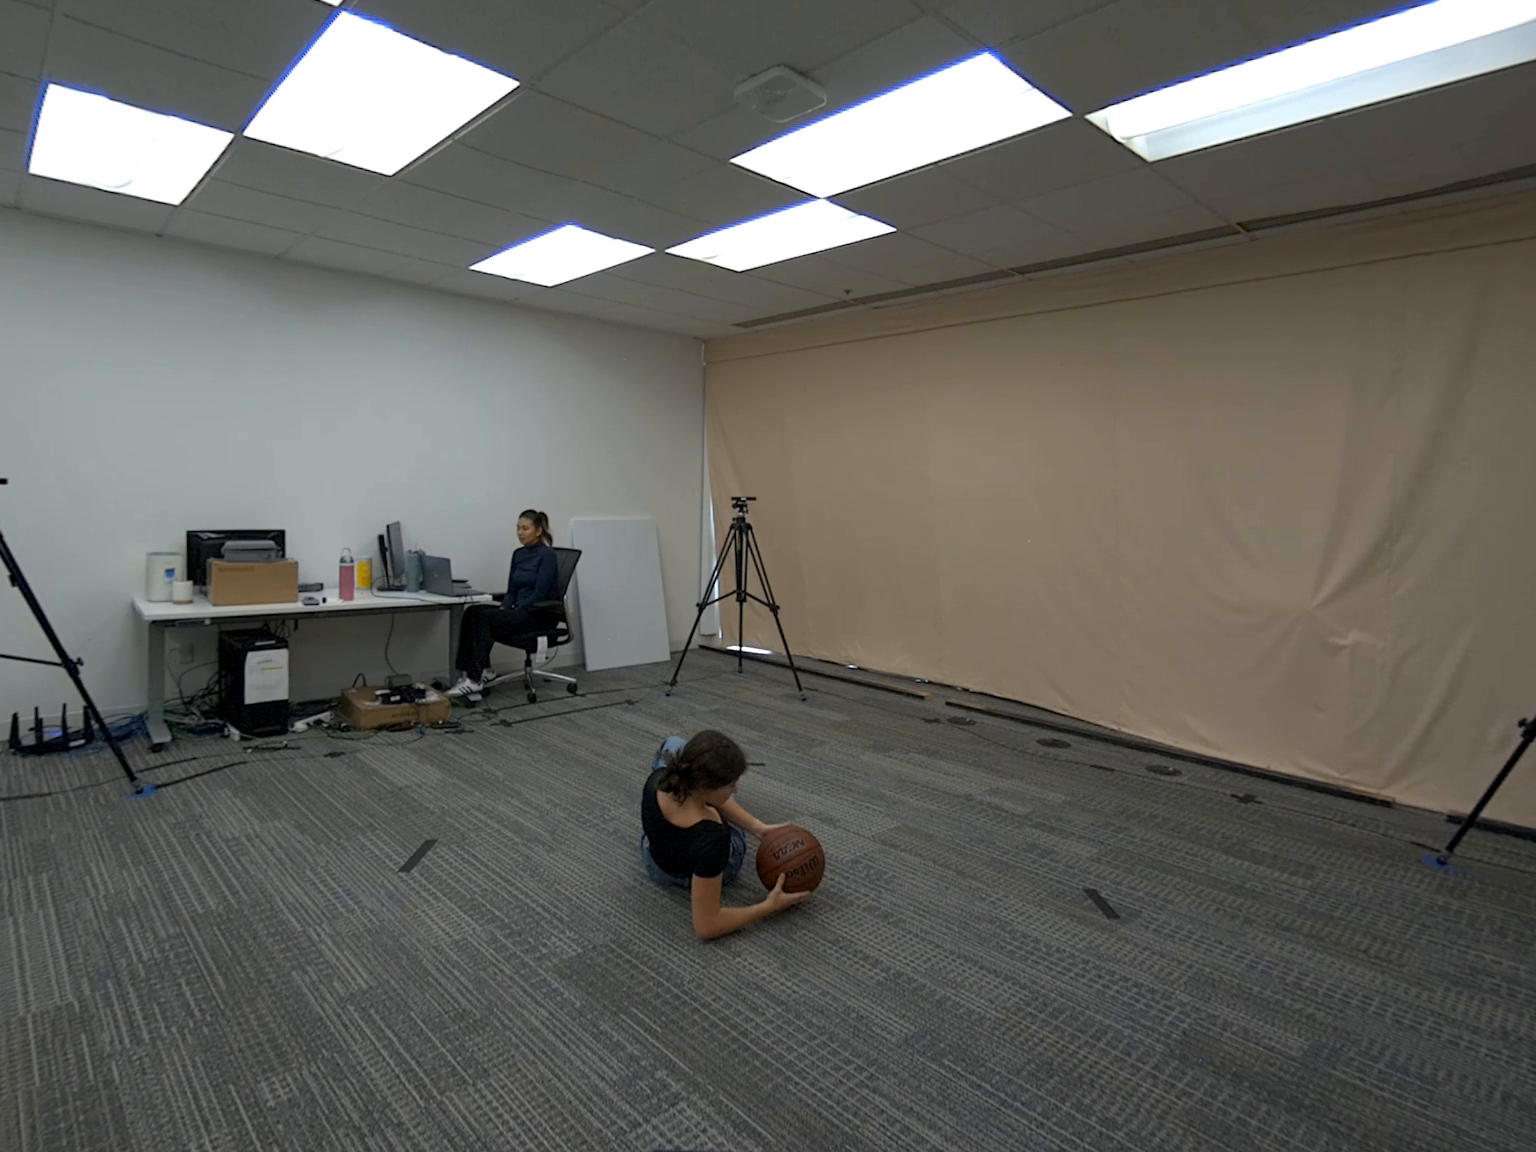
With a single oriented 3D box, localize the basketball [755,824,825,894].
[{"bbox_3d":[0.065,0.963,2.893,0.236,0.235,0.237,1,4,-1],"label":"basketball"}]
